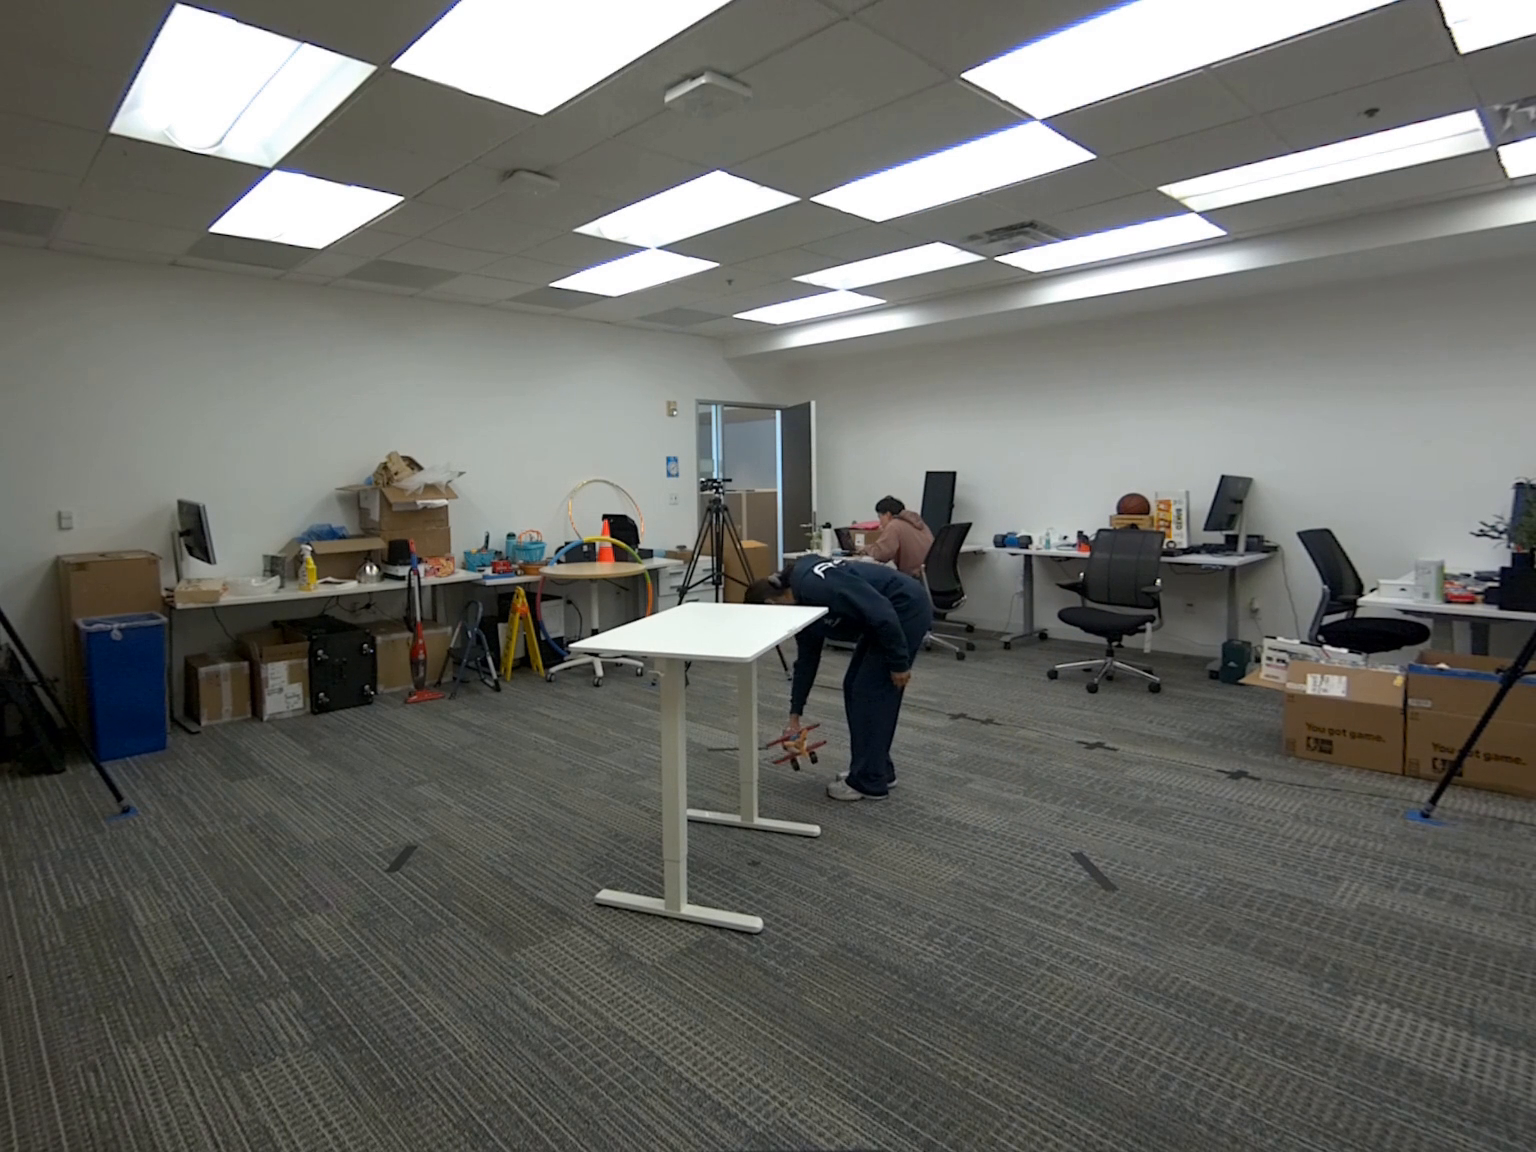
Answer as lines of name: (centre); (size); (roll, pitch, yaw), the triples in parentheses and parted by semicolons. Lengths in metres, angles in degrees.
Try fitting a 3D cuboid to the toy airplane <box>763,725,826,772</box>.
toy airplane: (0.115, 0.762, 3.774); (0.247, 0.156, 0.264); (-22, 3, -36)
